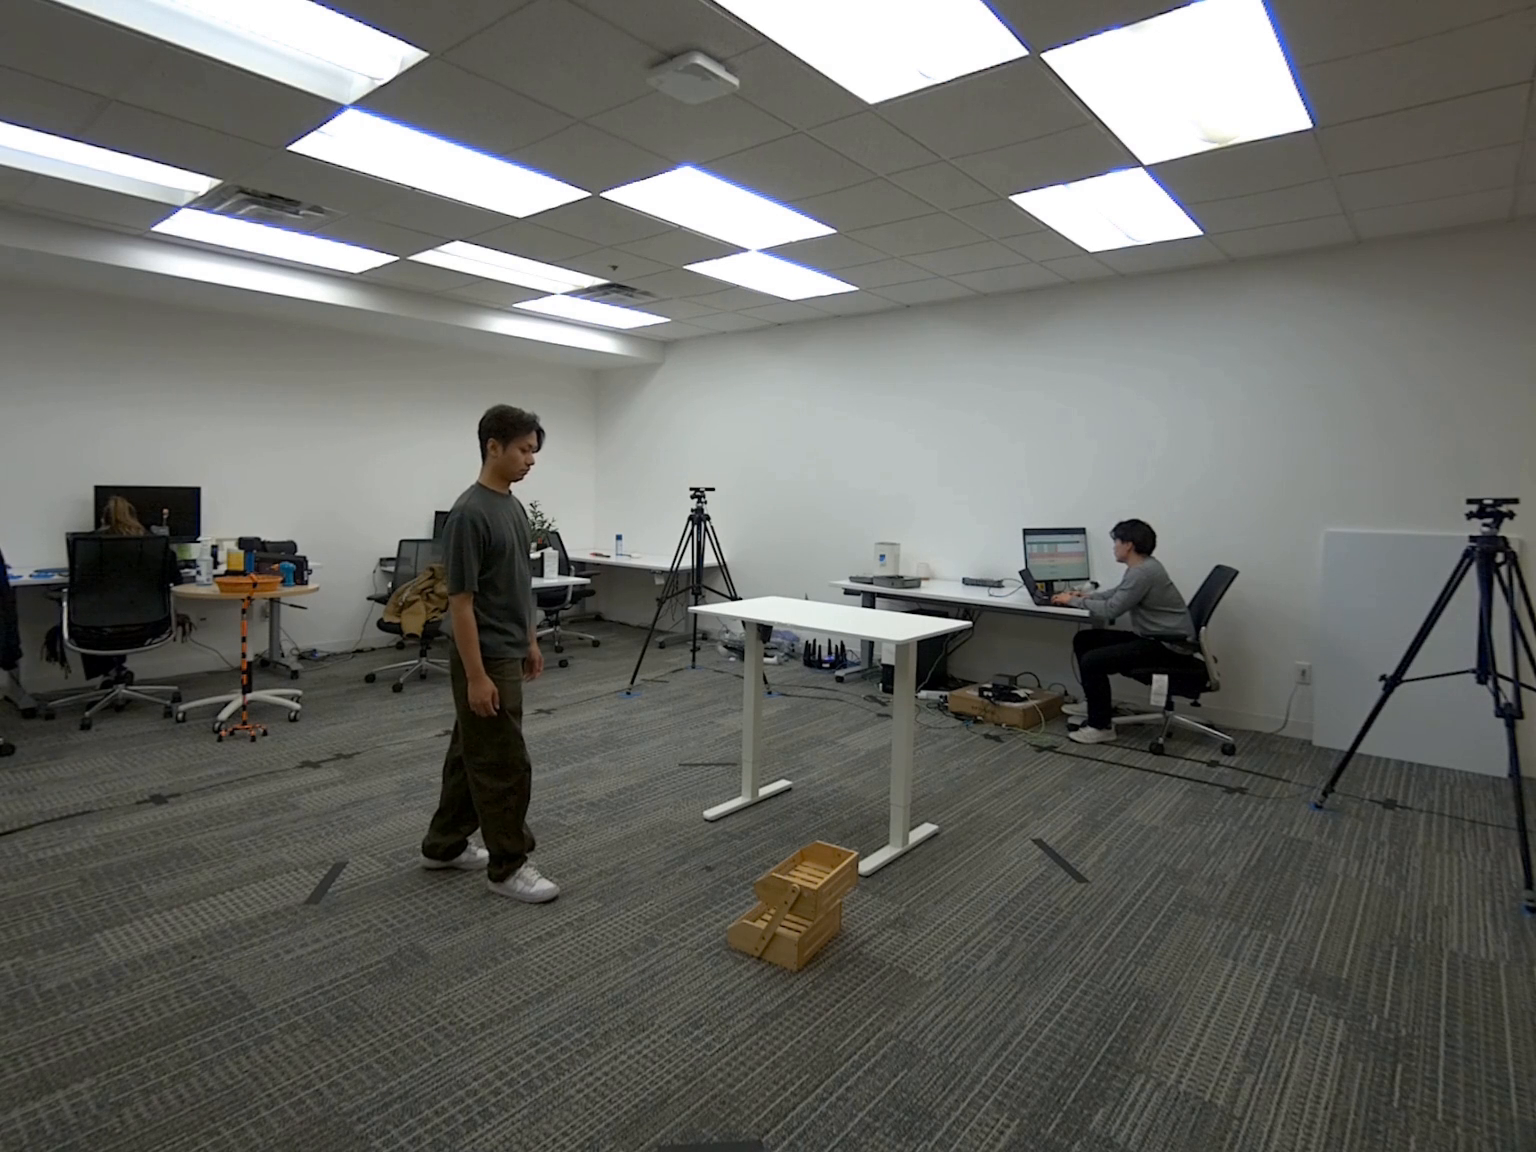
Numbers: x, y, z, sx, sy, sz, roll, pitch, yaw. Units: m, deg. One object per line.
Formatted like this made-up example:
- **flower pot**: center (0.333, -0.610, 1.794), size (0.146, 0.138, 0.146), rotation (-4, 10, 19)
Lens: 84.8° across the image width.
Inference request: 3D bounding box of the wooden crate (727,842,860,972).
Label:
- **wooden crate**: center (0.067, 0.984, 2.624), size (0.311, 0.272, 0.316), rotation (5, 5, 32)
